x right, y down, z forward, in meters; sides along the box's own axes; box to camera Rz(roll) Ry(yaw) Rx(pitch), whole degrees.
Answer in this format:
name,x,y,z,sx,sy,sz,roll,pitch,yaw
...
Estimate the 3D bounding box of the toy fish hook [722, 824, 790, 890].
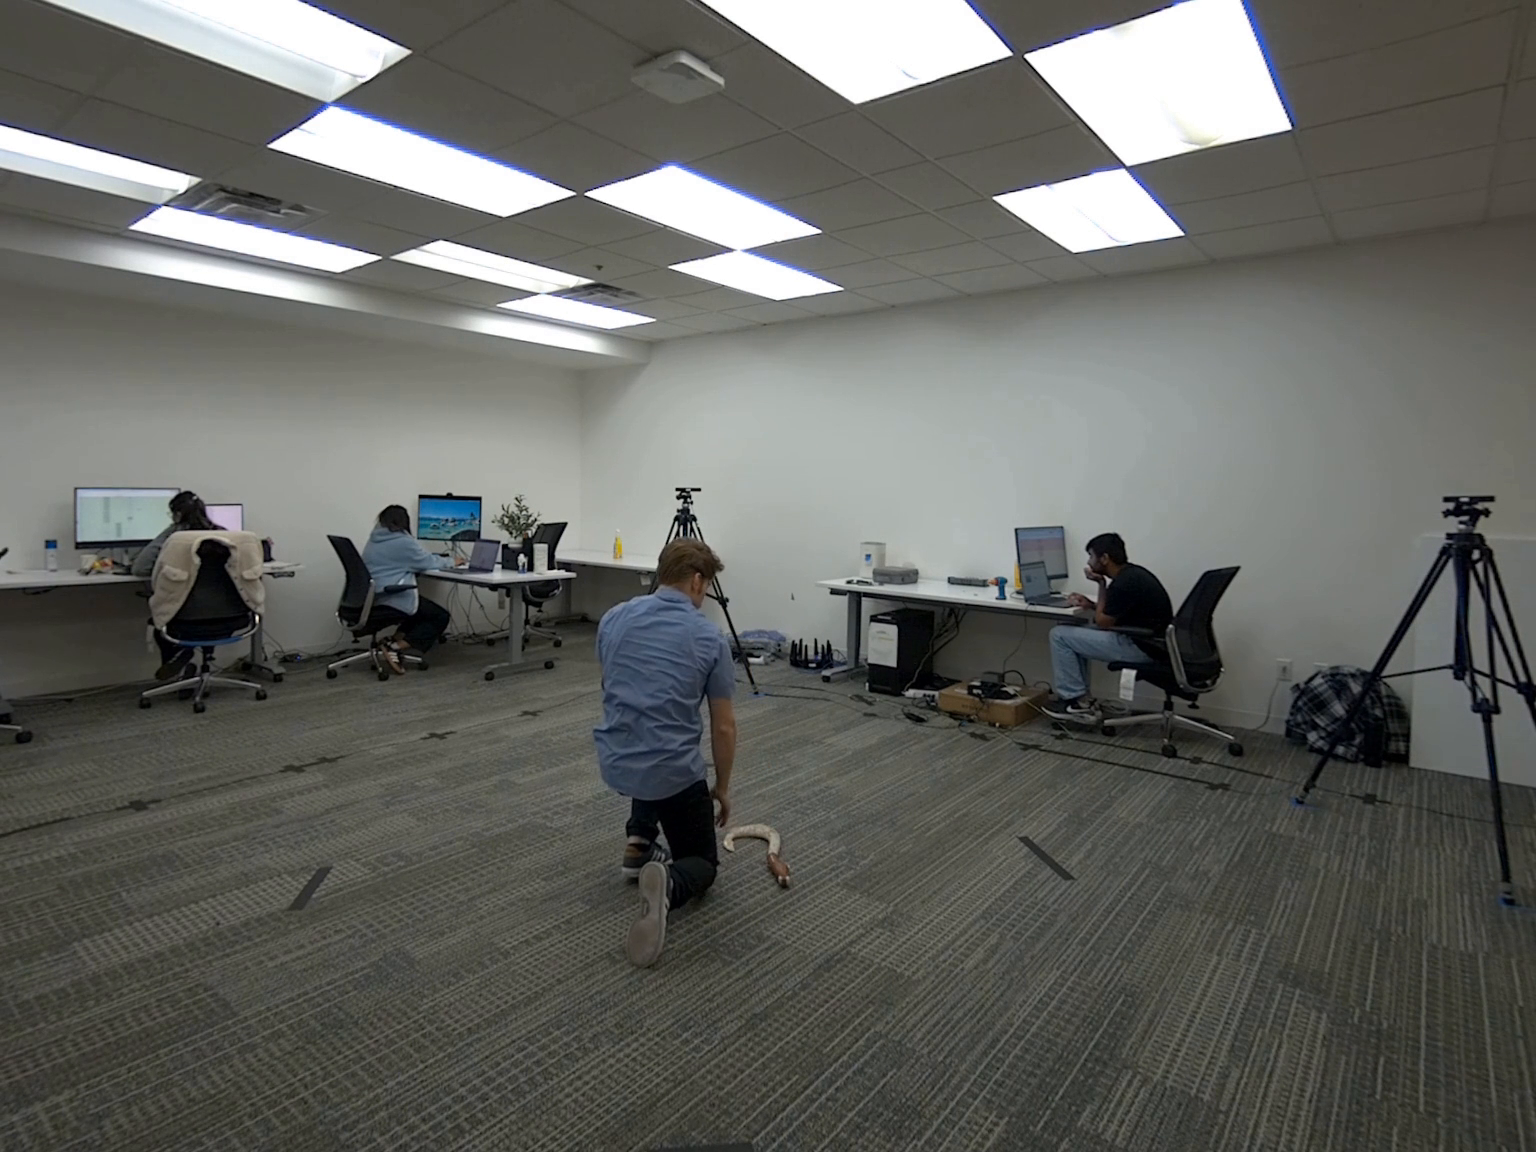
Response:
name,x,y,z,sx,sy,sz,roll,pitch,yaw
toy fish hook,-0.049,1.045,3.202,0.223,0.048,0.513,-8,7,-10
